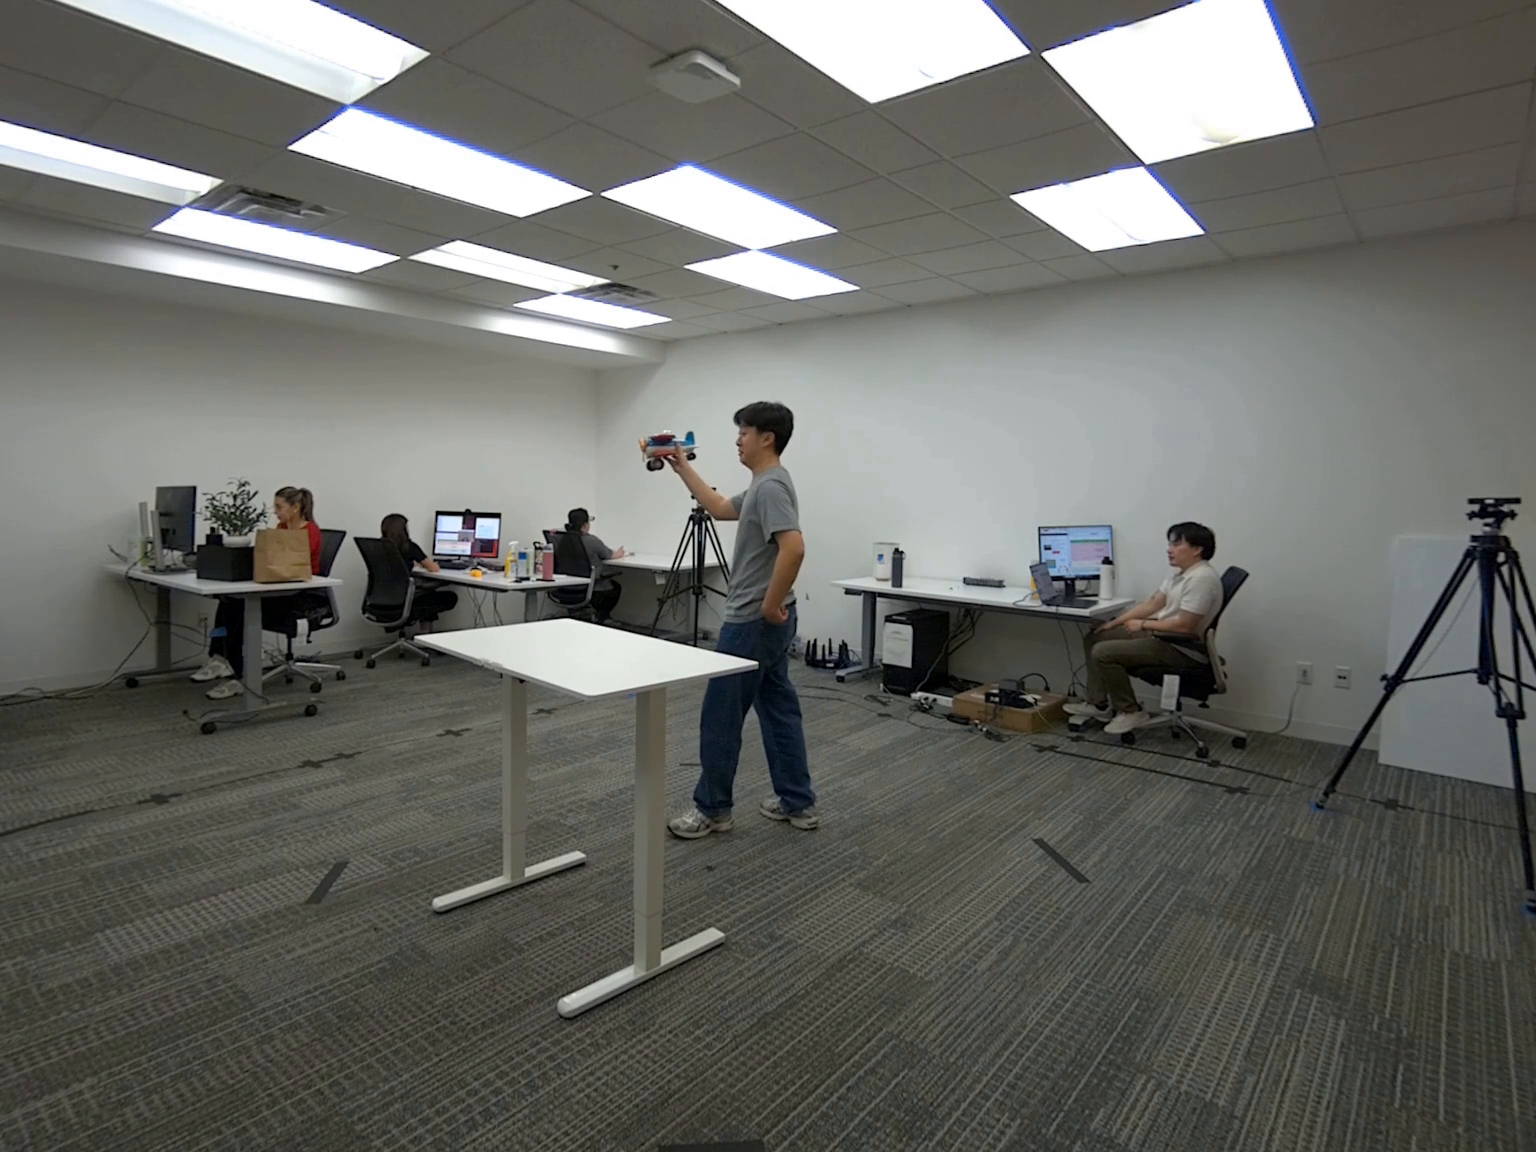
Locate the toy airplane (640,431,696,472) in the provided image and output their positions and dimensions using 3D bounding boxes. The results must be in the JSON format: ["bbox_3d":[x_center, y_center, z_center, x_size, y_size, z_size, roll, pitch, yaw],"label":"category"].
[{"bbox_3d":[-0.467,-0.586,3.859,0.258,0.154,0.255,-7,14,39],"label":"toy airplane"}]
